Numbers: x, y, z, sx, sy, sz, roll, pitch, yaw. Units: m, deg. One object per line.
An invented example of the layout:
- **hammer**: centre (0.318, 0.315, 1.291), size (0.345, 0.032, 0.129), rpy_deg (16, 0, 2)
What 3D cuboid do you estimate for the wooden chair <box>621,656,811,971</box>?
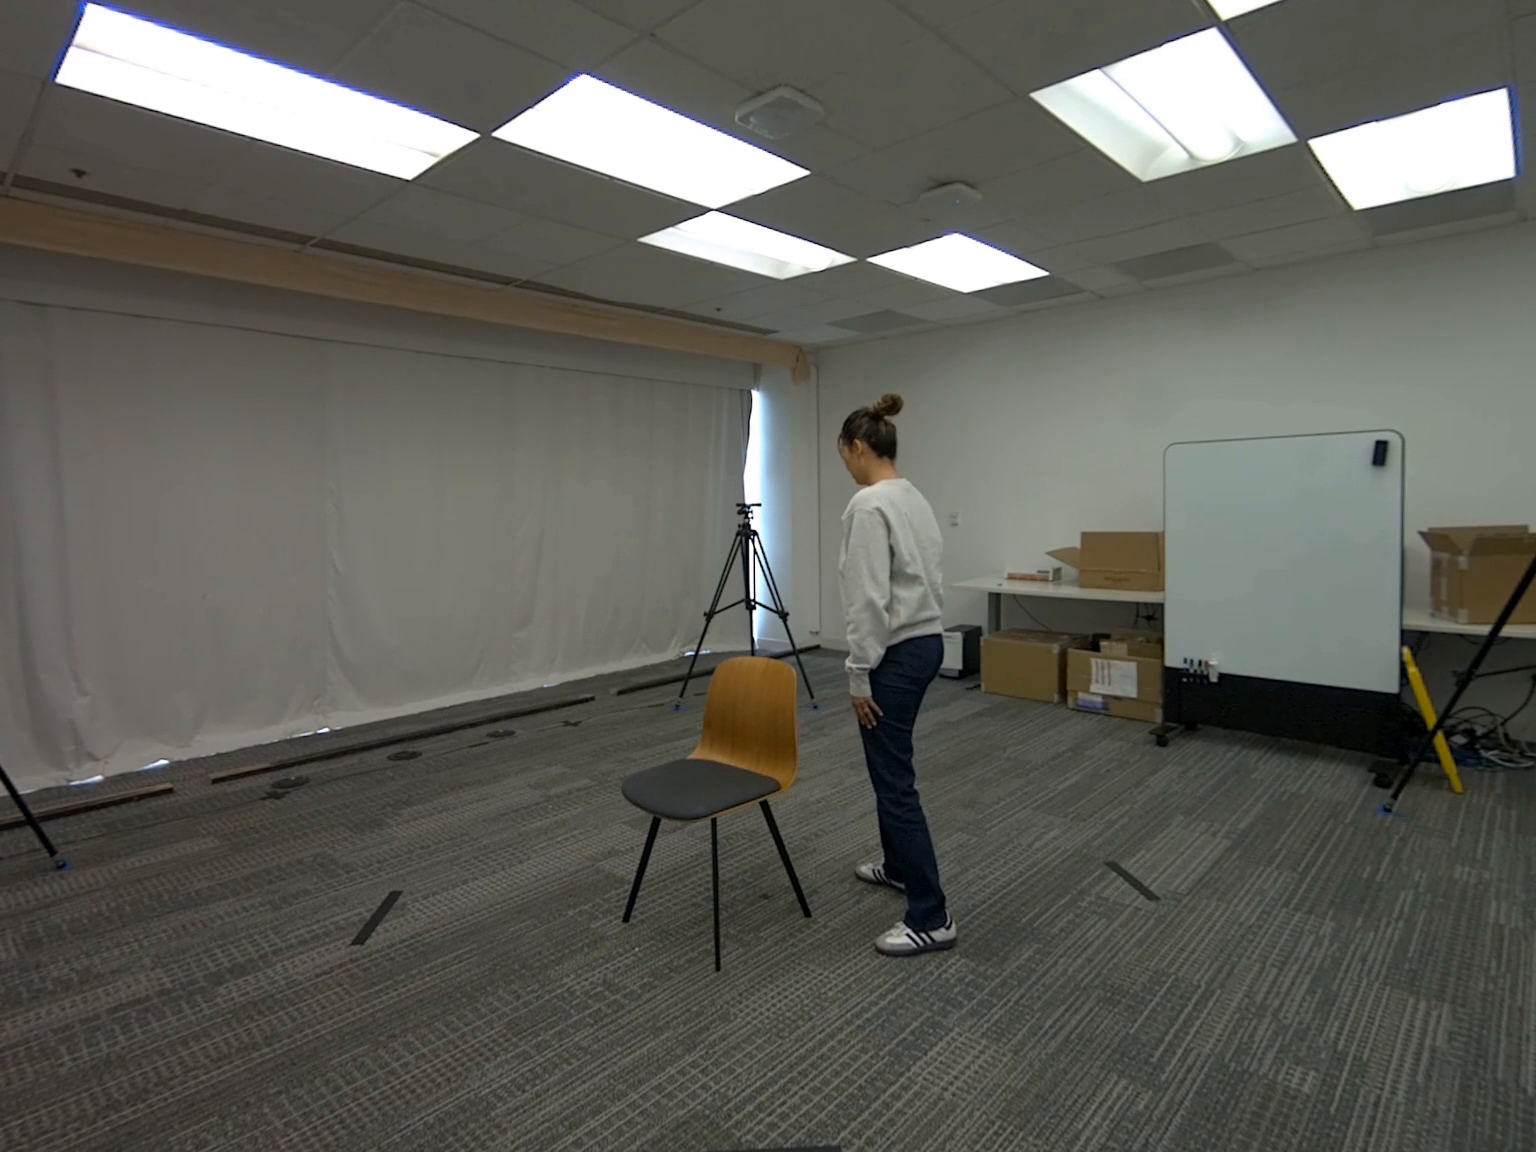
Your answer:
- **wooden chair**: centre (-0.181, 0.732, 2.795), size (0.494, 0.877, 0.506), rpy_deg (2, 0, 42)
